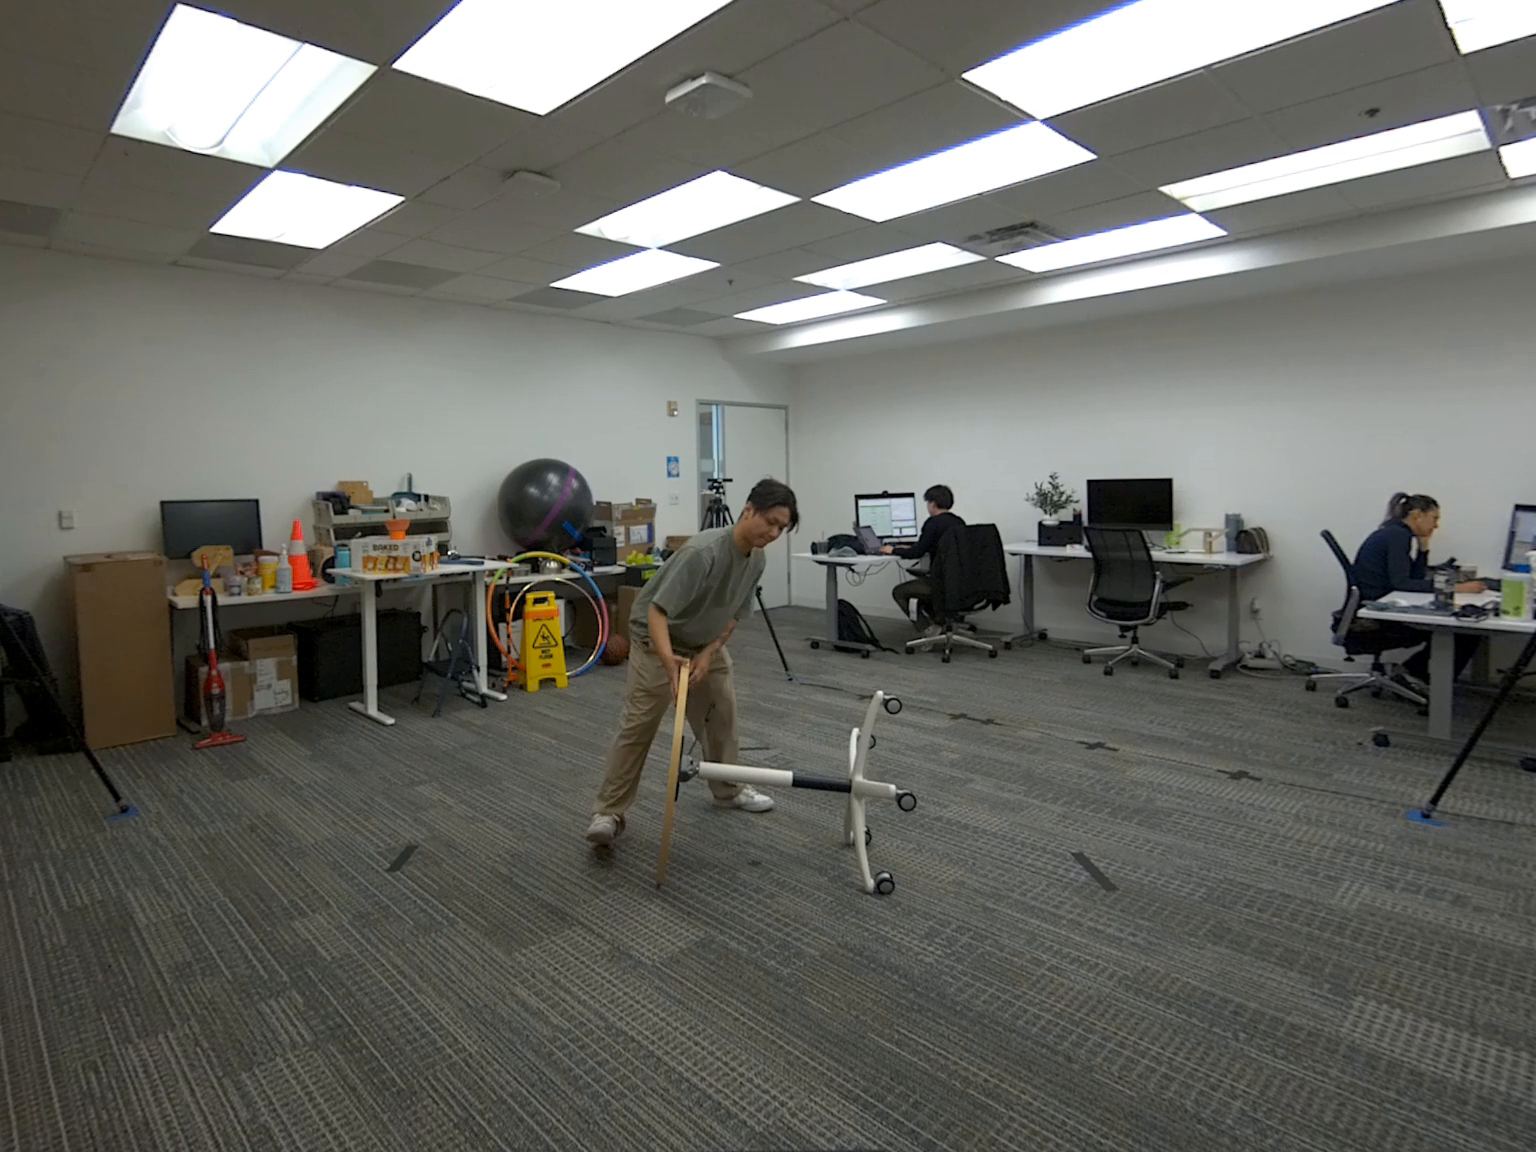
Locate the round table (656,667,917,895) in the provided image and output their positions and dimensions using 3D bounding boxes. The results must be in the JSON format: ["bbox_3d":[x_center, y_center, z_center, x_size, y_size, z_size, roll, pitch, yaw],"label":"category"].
[{"bbox_3d":[0.043,0.716,3.033,0.783,0.783,0.791,5,4,-4],"label":"round table"}]
